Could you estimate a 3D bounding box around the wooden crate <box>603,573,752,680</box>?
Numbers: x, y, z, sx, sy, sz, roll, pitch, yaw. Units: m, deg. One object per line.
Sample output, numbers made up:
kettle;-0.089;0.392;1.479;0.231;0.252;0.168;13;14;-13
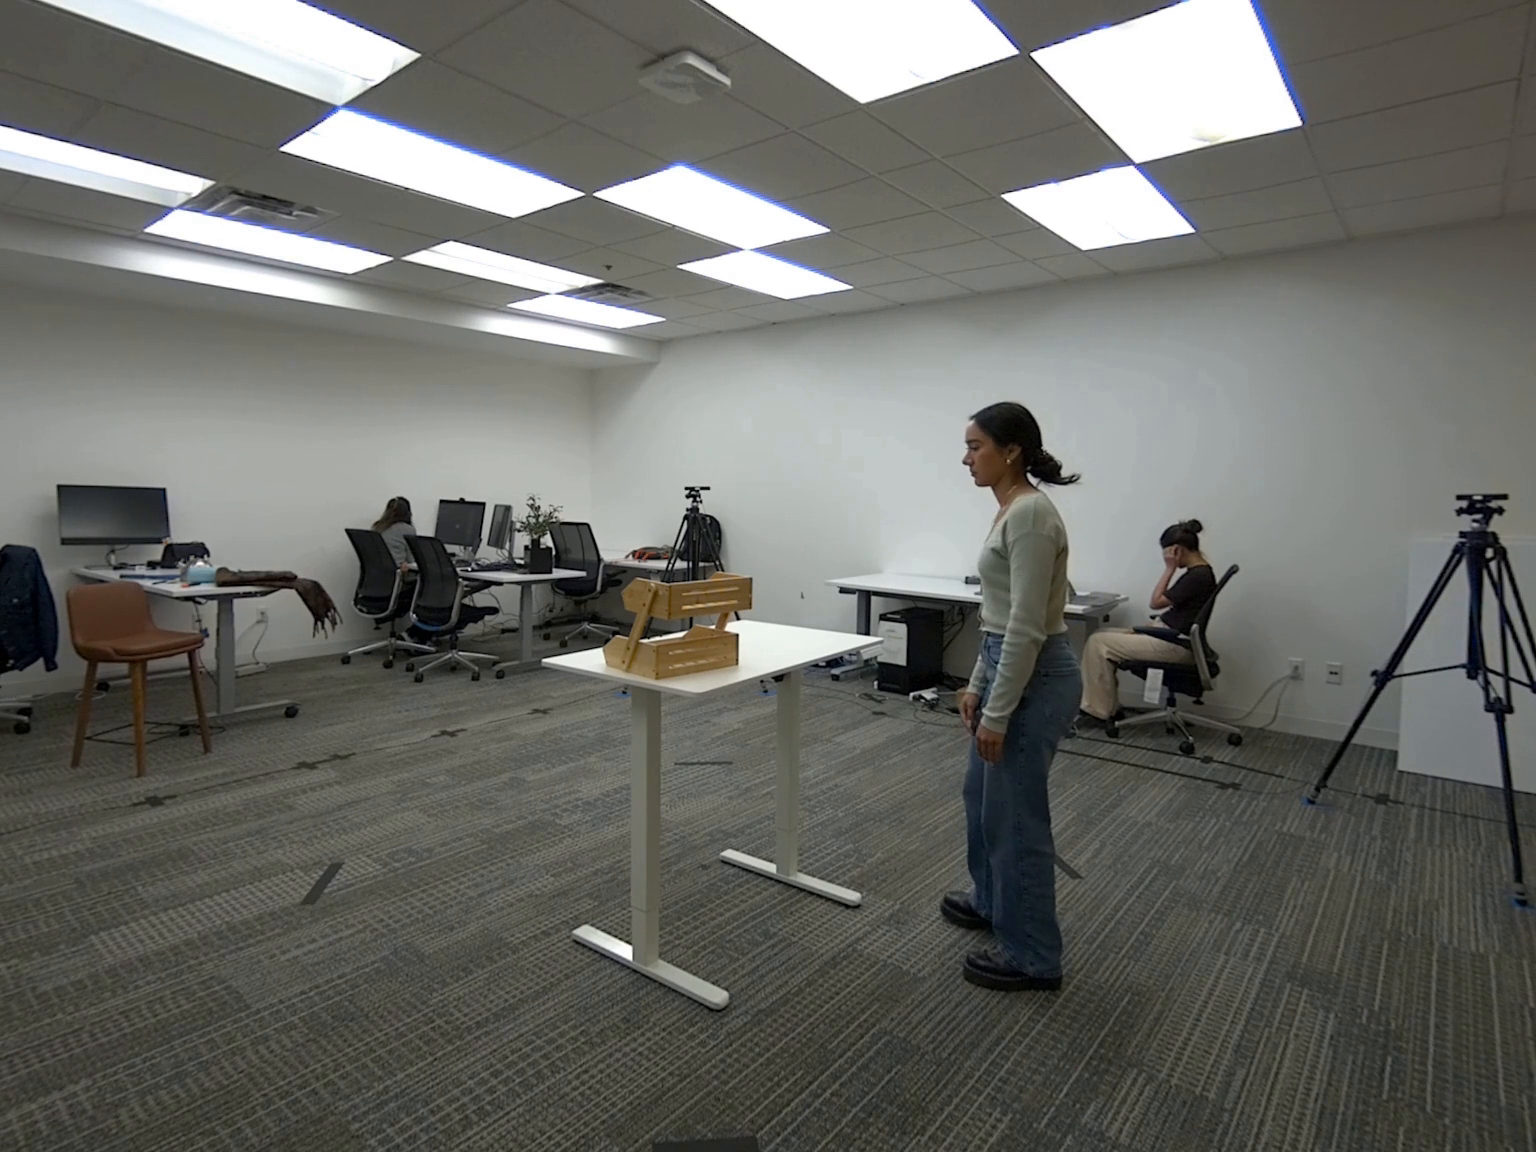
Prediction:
wooden crate;-0.269;0.123;2.411;0.315;0.272;0.312;-4;8;-42
